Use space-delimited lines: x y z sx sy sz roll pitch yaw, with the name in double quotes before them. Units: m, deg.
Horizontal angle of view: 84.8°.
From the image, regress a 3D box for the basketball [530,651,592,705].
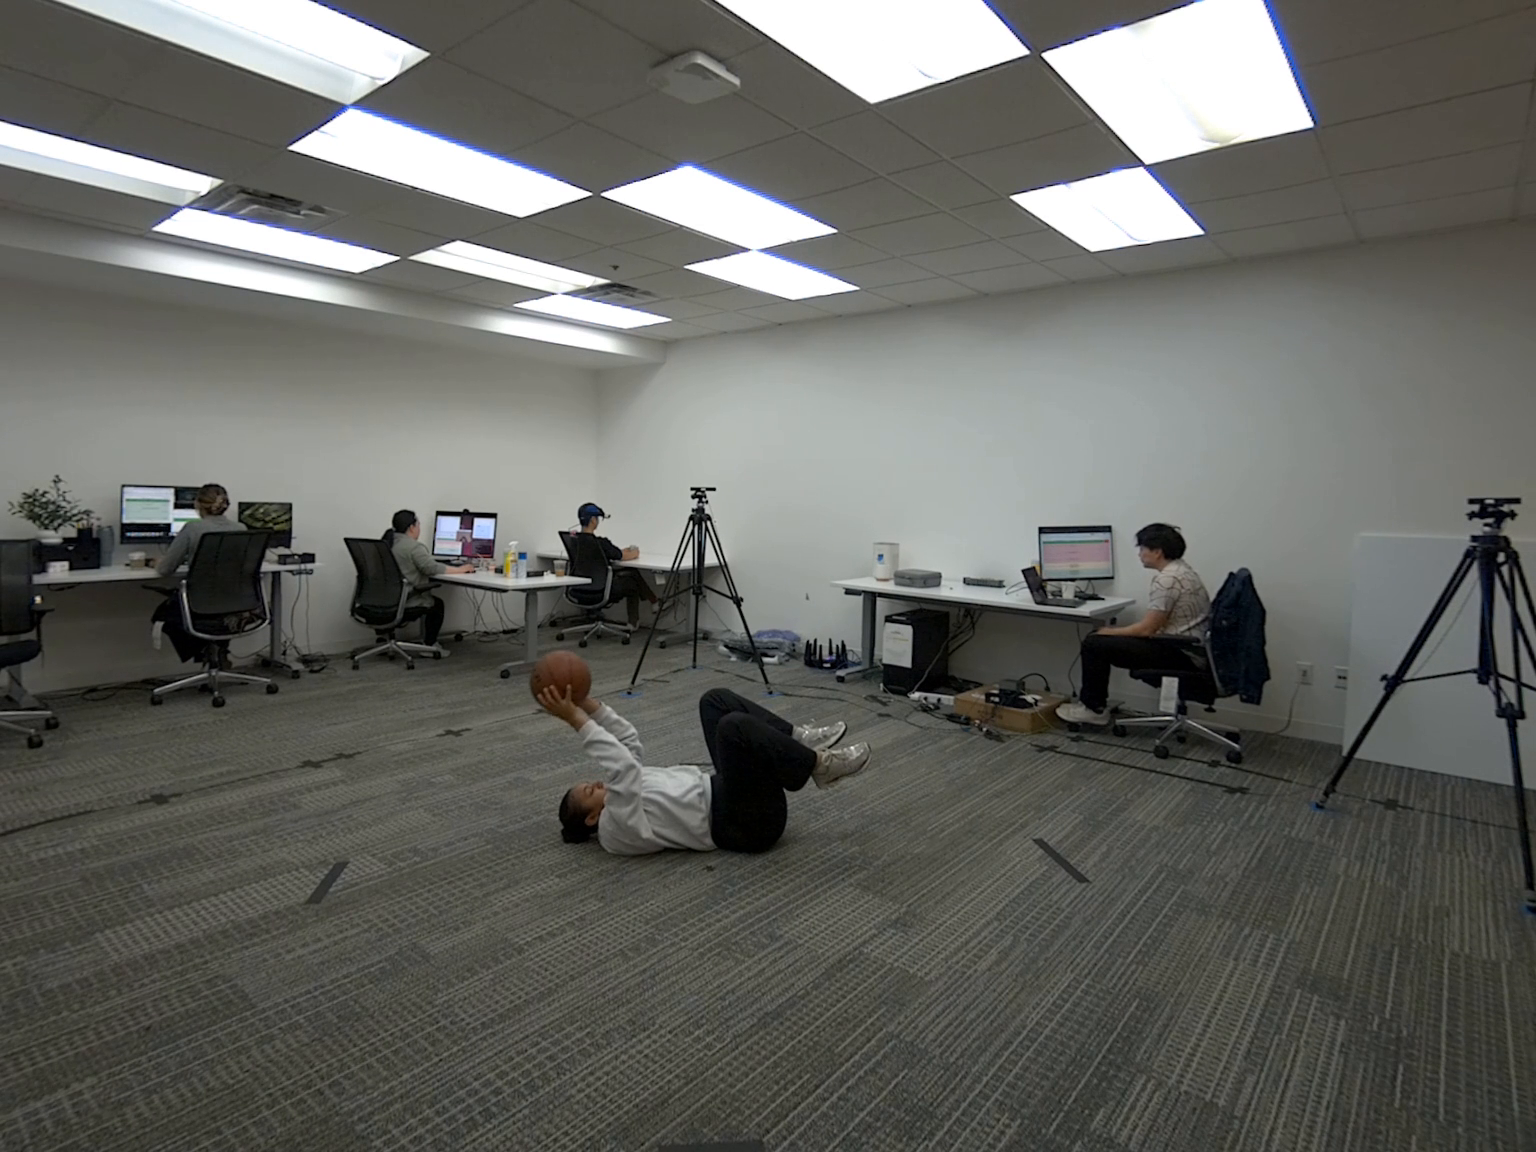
"basketball" -0.804 0.415 3.334 0.235 0.235 0.237 1 4 -2
